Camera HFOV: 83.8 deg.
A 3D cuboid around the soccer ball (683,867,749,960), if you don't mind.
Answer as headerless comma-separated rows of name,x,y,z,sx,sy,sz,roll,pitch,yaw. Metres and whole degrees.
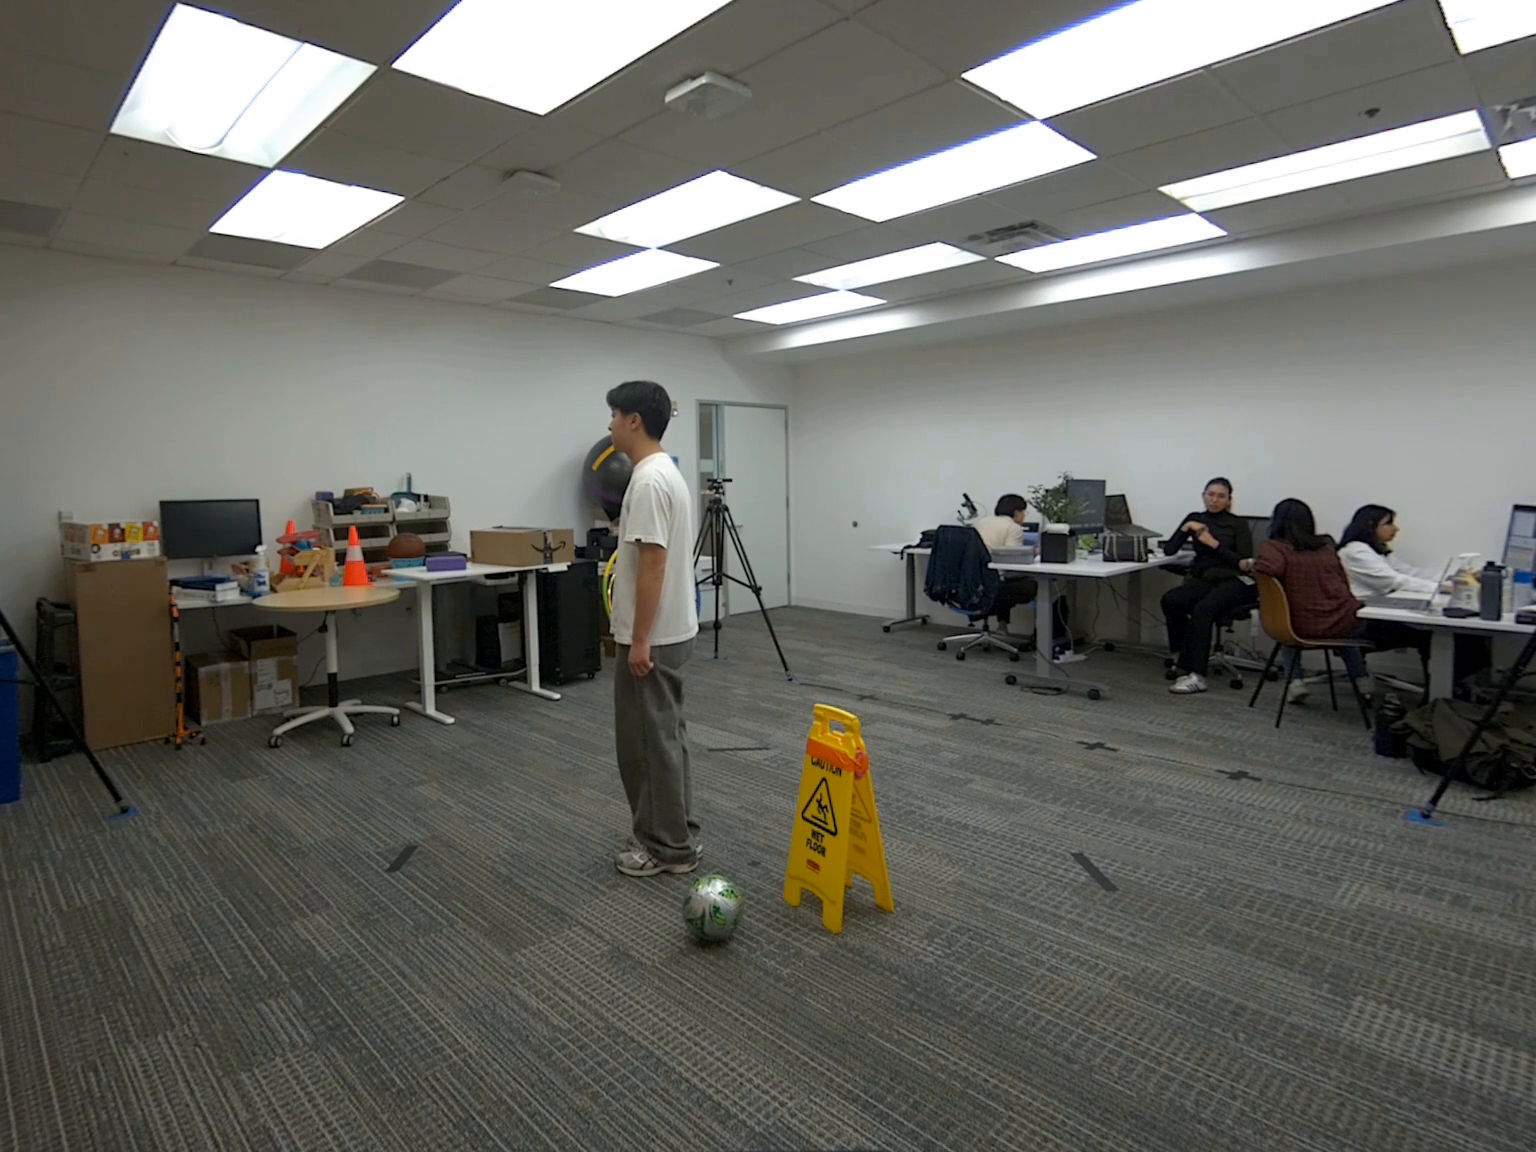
soccer ball,-0.160,1.021,2.610,0.187,0.187,0.188,-1,5,-2
